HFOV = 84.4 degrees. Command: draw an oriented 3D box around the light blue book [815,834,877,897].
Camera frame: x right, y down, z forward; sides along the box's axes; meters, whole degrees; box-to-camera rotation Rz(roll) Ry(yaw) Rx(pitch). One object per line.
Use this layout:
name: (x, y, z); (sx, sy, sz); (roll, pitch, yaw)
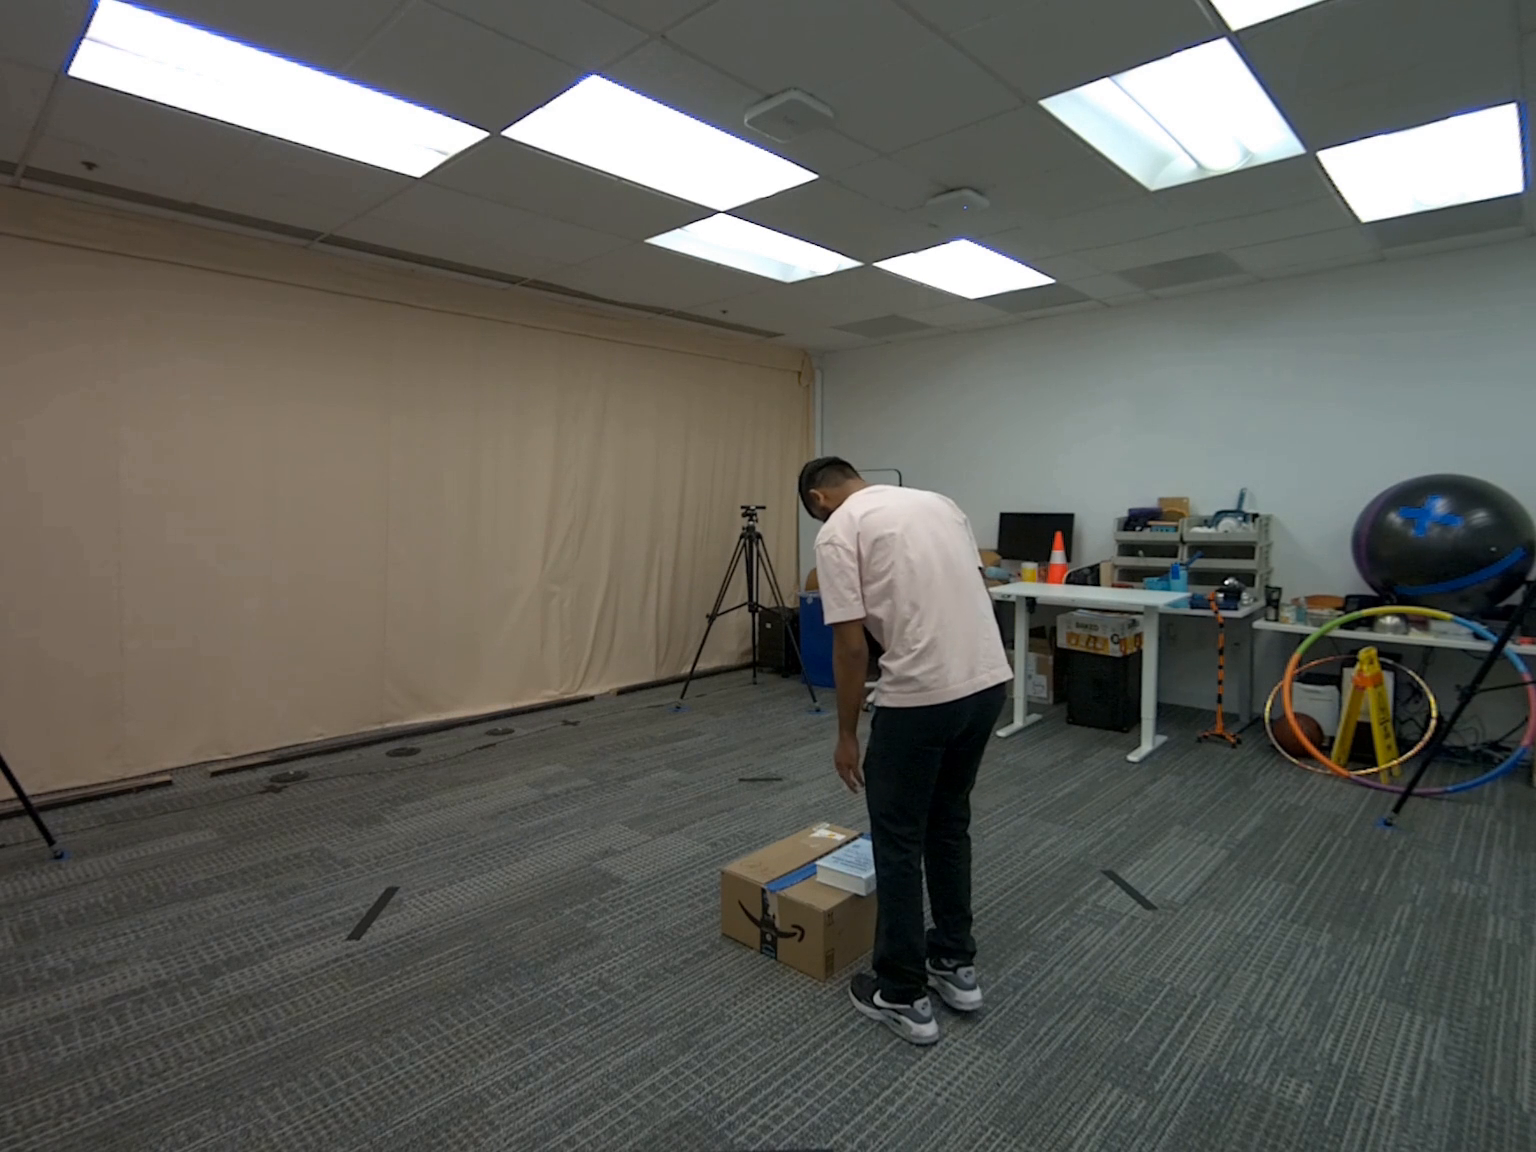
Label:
light blue book: (0.303, 0.927, 2.687); (0.197, 0.059, 0.253); (1, 5, 41)
